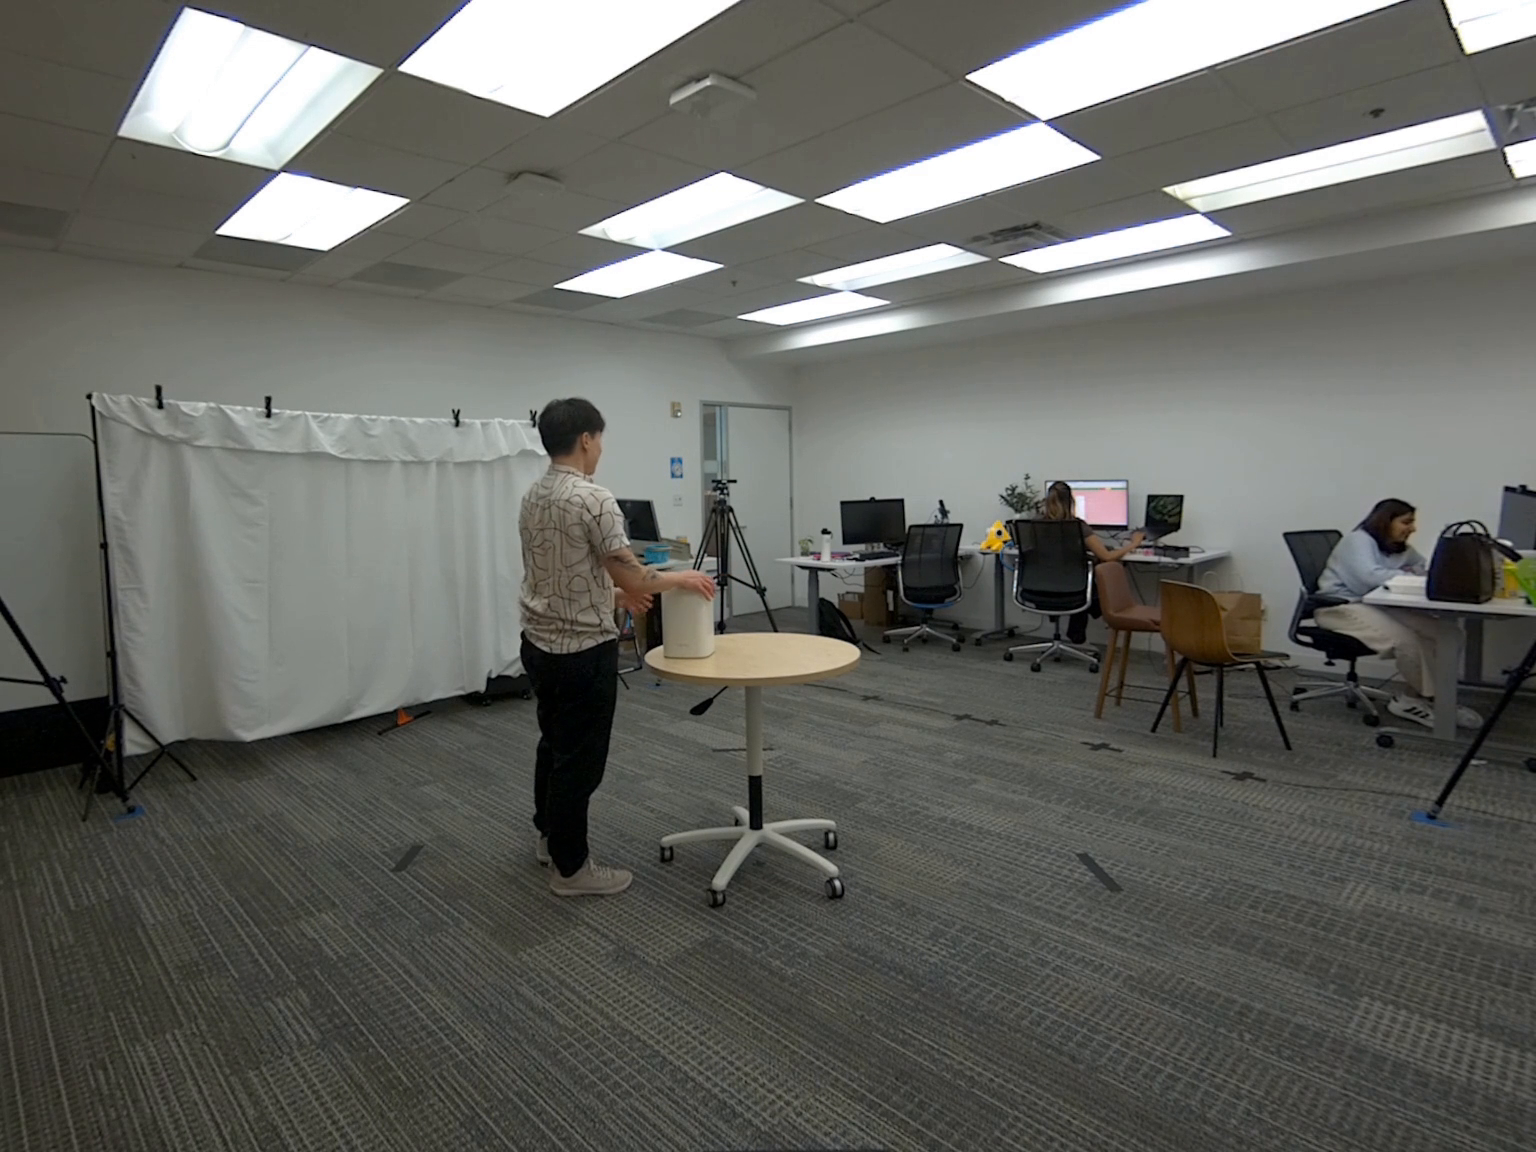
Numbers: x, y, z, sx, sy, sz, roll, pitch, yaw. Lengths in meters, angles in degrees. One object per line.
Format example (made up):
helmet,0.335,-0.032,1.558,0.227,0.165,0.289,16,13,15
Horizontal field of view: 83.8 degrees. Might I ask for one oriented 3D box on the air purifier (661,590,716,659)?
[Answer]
air purifier,-0.286,0.146,3.052,0.173,0.264,0.170,-3,5,11
